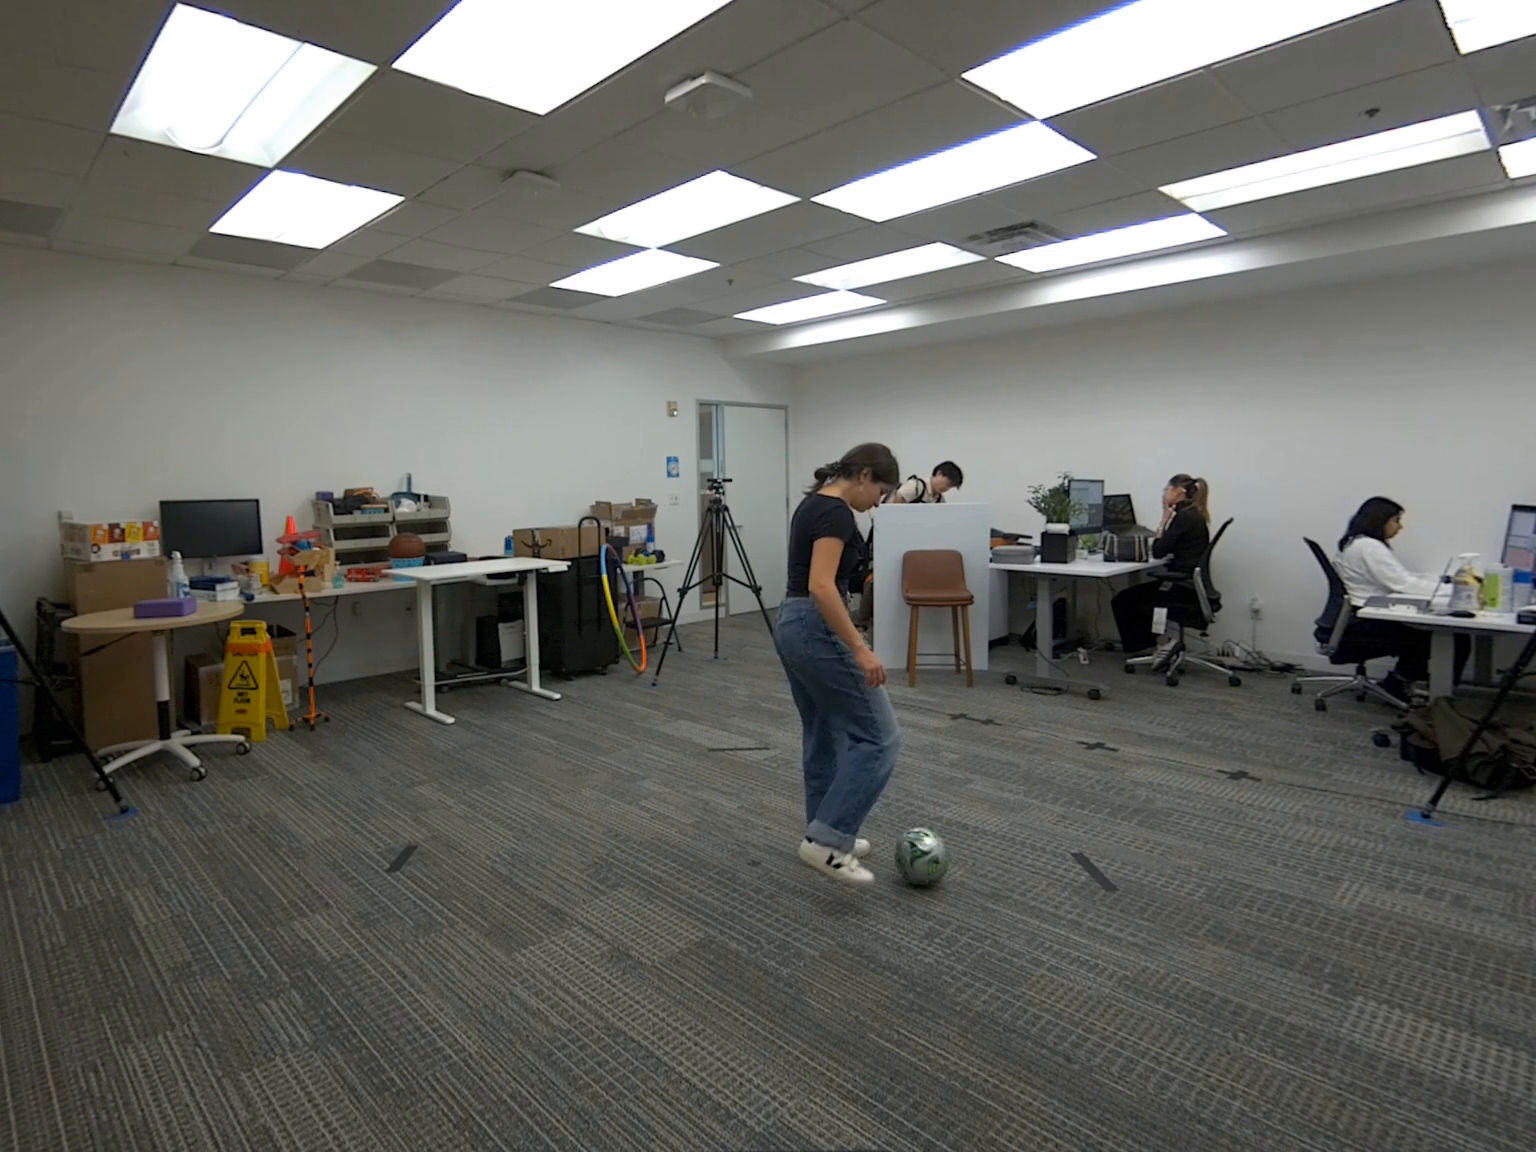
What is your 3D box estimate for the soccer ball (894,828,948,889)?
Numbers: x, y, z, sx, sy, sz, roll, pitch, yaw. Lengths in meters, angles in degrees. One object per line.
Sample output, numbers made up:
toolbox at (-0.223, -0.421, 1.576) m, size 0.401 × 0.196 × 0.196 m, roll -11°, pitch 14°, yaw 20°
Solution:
soccer ball at (0.530, 0.963, 2.934) m, size 0.187 × 0.187 × 0.188 m, roll -1°, pitch 5°, yaw -2°
